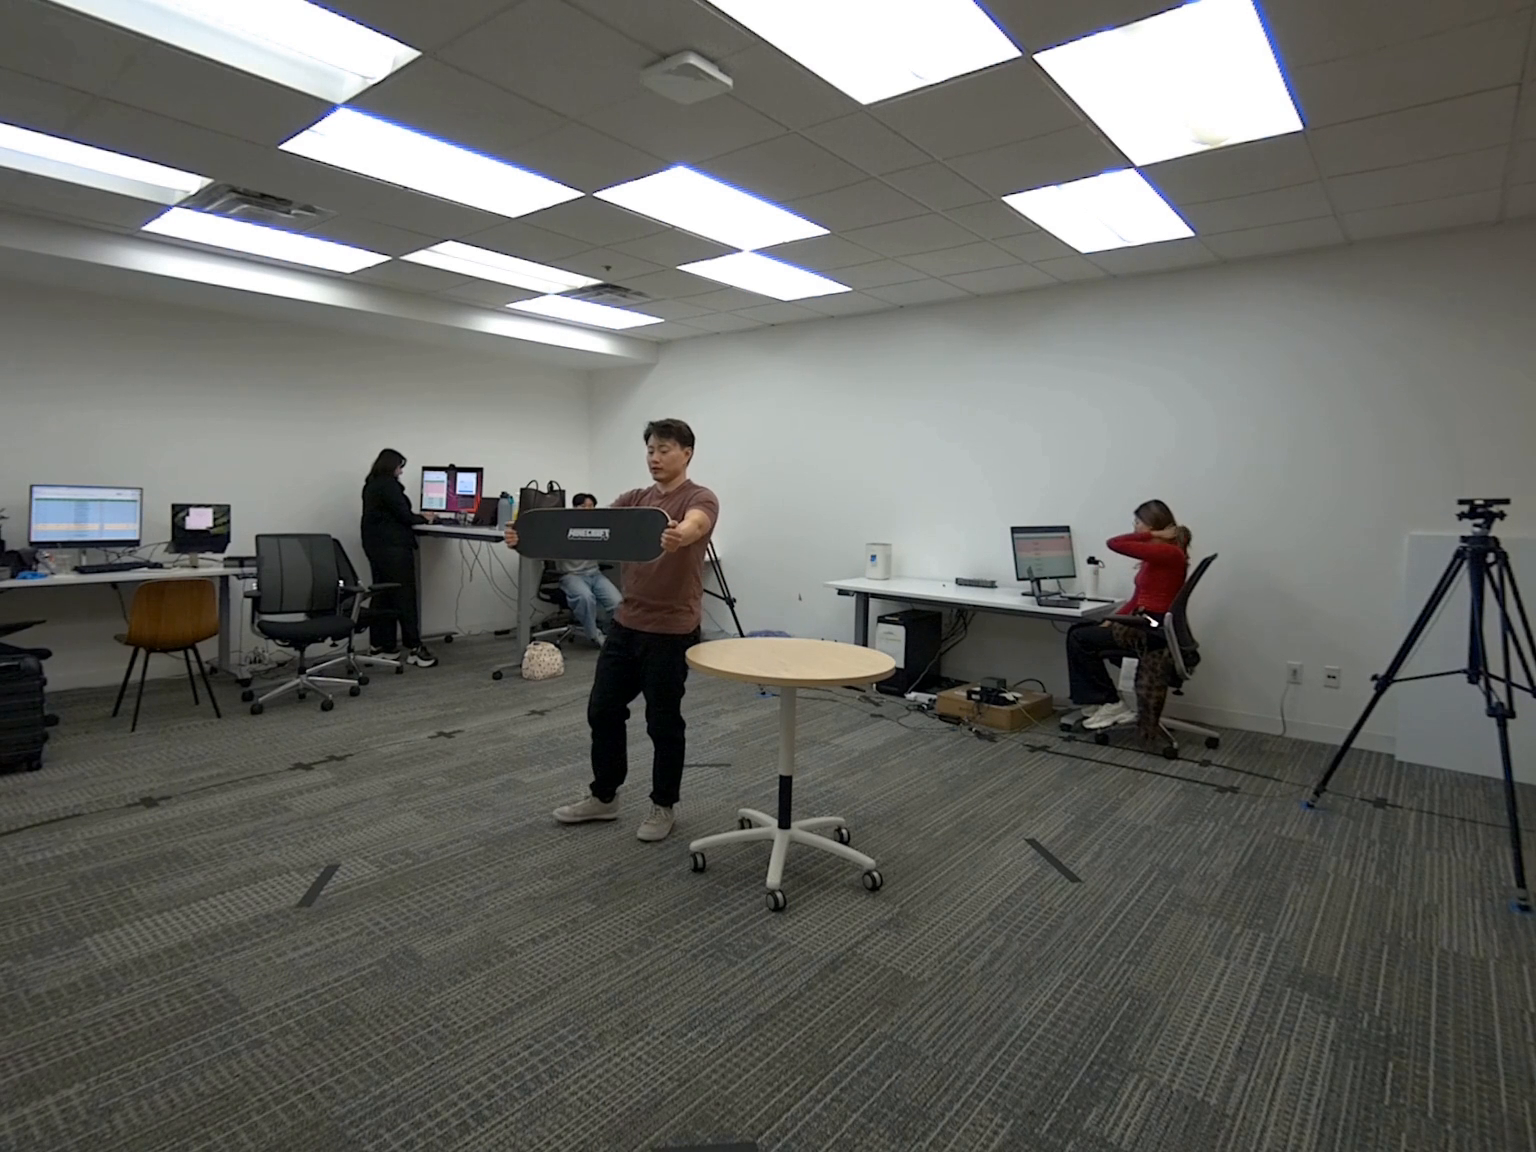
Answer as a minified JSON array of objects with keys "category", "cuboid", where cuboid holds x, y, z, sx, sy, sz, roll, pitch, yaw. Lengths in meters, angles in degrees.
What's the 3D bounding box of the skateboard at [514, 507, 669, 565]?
[{"category":"skateboard","cuboid":[-0.658,-0.157,3.120,0.809,0.194,0.106,2,-5,34]}]
